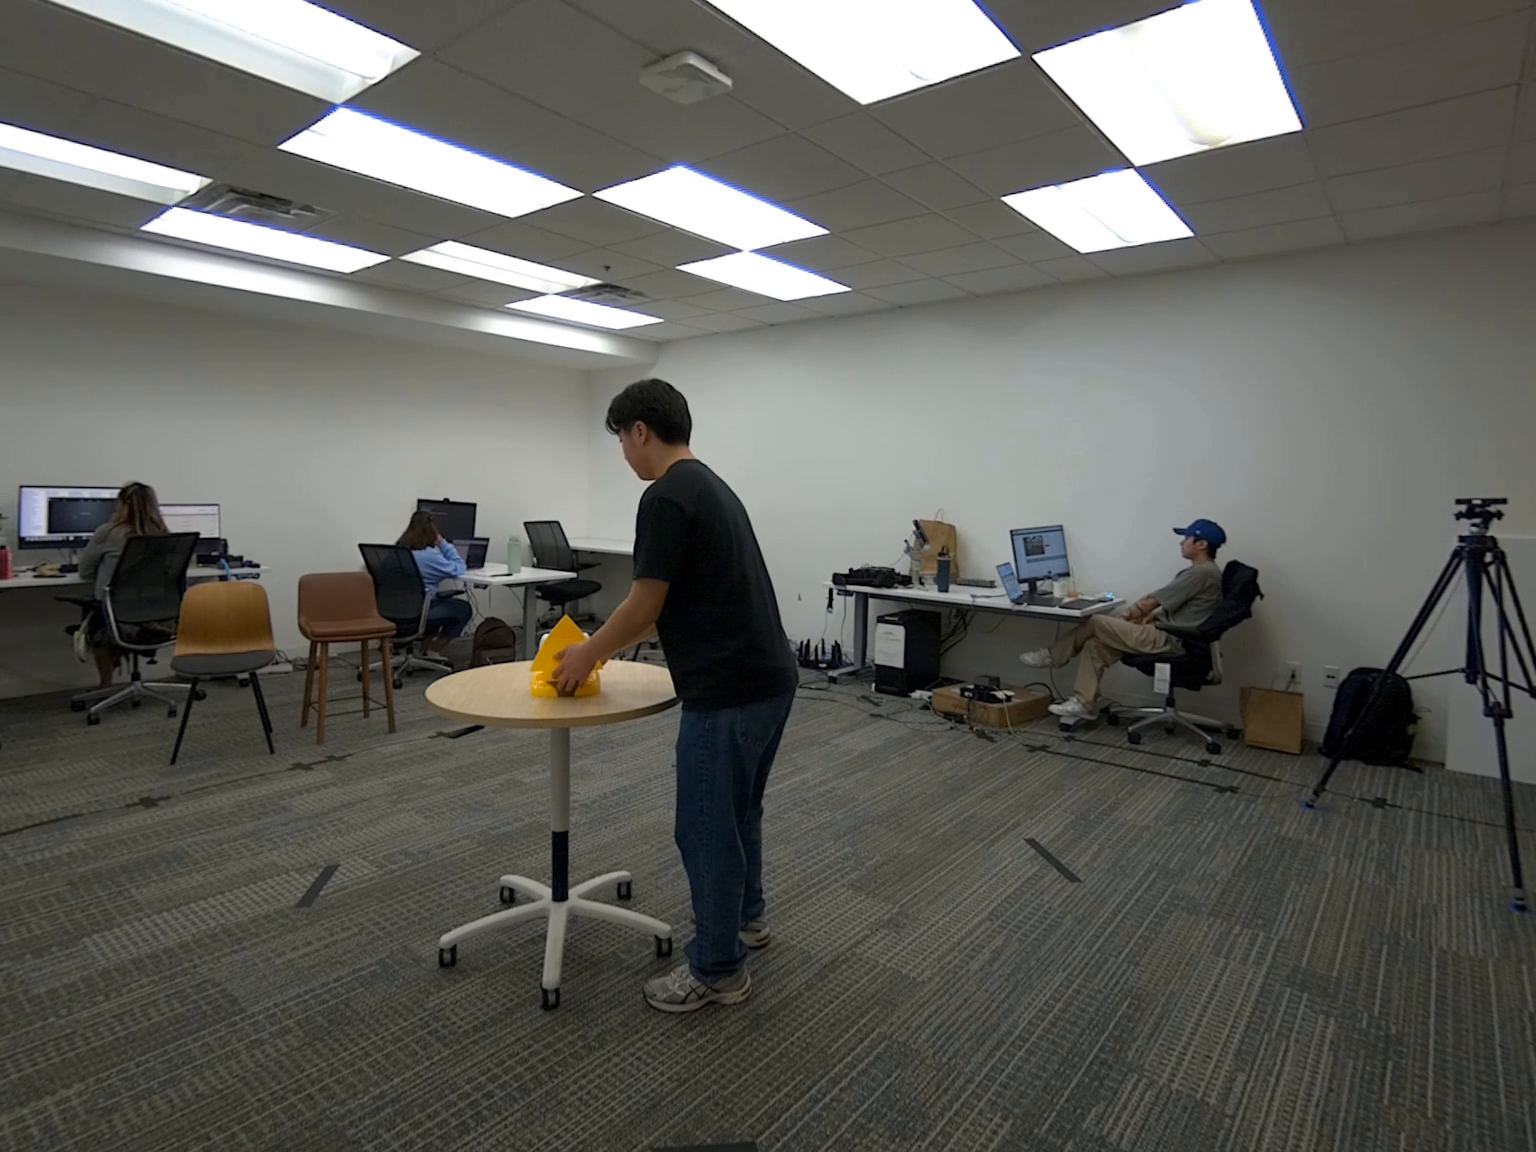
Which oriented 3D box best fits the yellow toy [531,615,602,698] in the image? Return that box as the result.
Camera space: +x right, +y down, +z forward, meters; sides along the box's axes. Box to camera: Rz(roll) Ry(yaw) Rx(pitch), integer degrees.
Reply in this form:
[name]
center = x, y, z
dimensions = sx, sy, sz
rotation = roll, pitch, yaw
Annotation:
[yellow toy]
center = -0.601, 0.214, 2.457
dimensions = 0.202, 0.229, 0.197
rotation = -1, 6, -13
